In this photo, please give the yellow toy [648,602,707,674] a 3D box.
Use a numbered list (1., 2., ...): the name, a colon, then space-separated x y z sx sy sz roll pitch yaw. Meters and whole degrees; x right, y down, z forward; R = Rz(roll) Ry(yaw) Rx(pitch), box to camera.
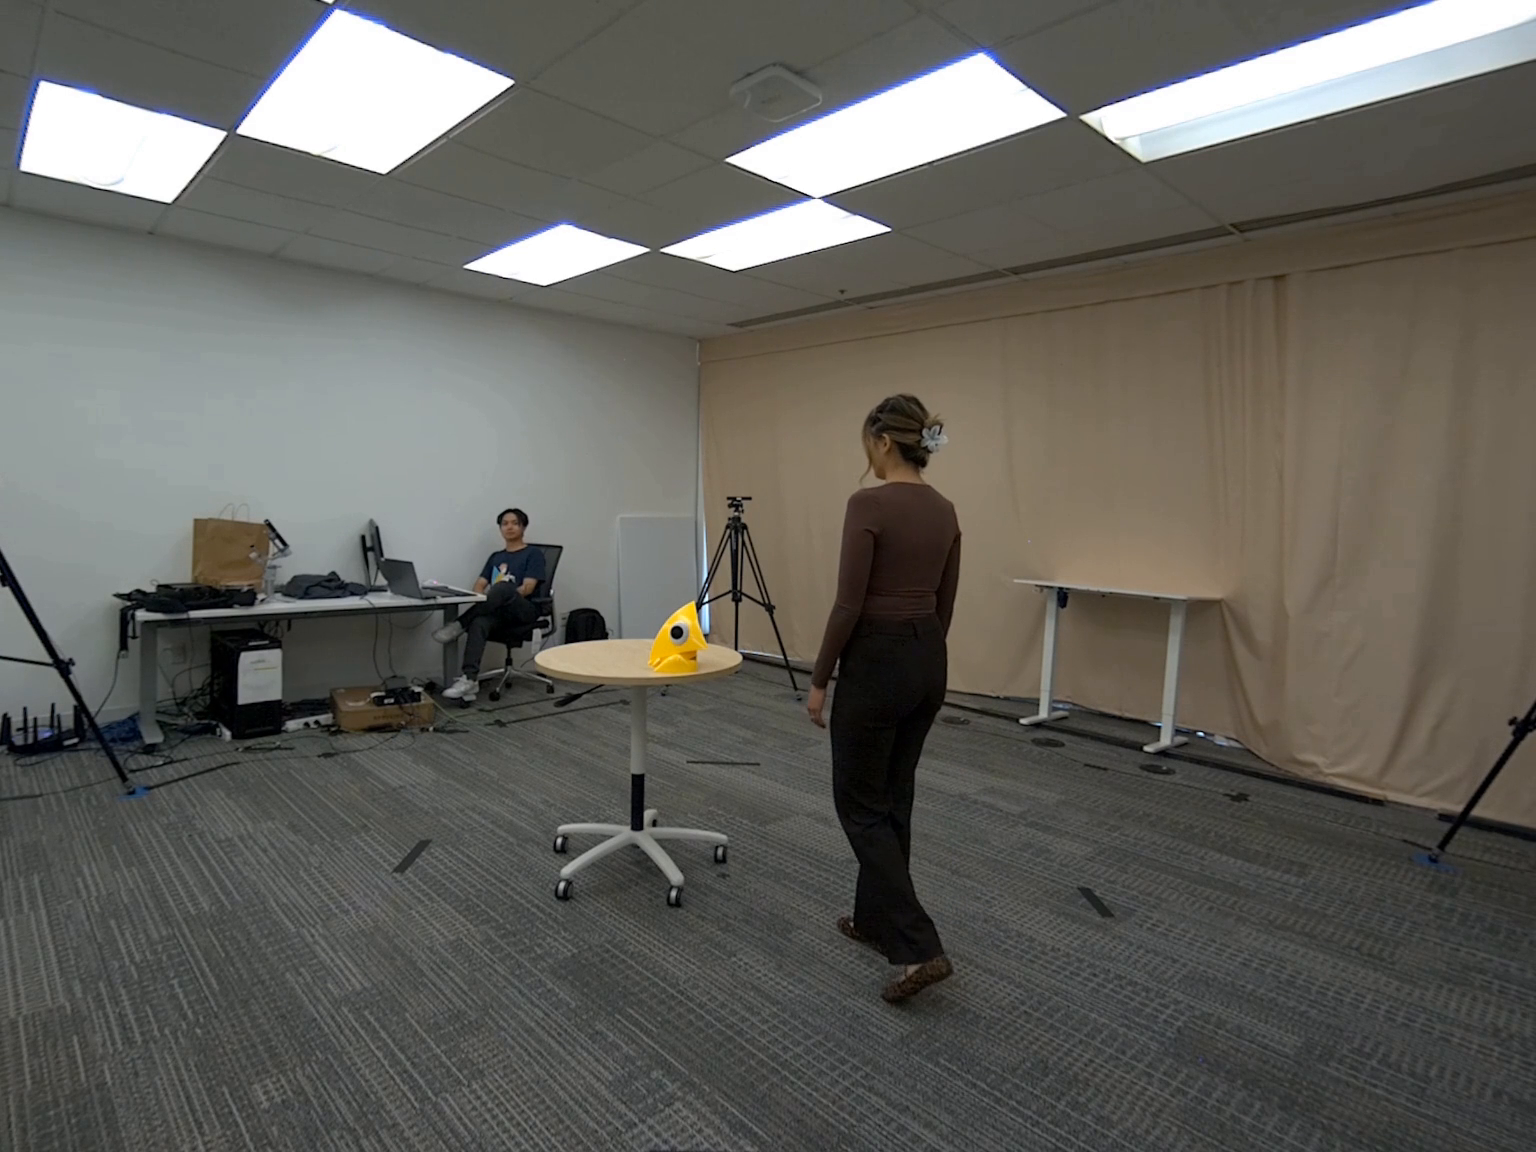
1. yellow toy: -0.326 0.206 2.936 0.190 0.230 0.208 0 4 -17
